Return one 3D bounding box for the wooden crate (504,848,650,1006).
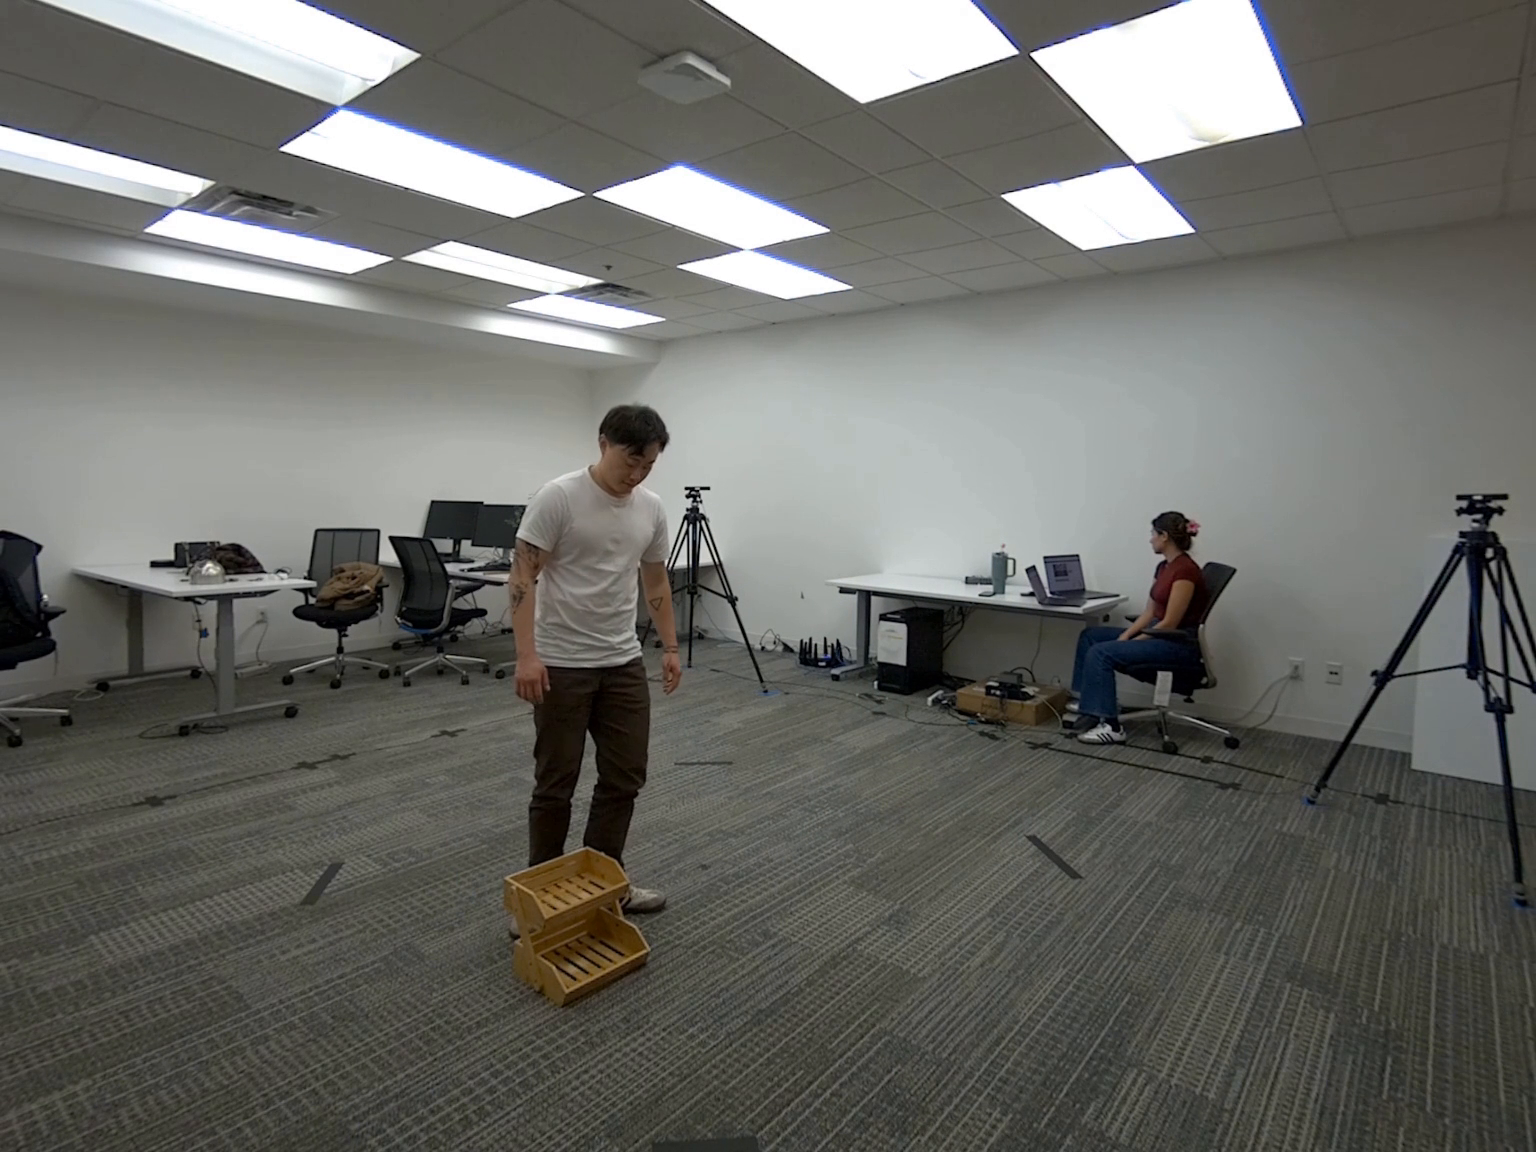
[{"bbox_3d":[-0.555,0.994,2.453,0.312,0.272,0.315,4,5,42],"label":"wooden crate"}]
